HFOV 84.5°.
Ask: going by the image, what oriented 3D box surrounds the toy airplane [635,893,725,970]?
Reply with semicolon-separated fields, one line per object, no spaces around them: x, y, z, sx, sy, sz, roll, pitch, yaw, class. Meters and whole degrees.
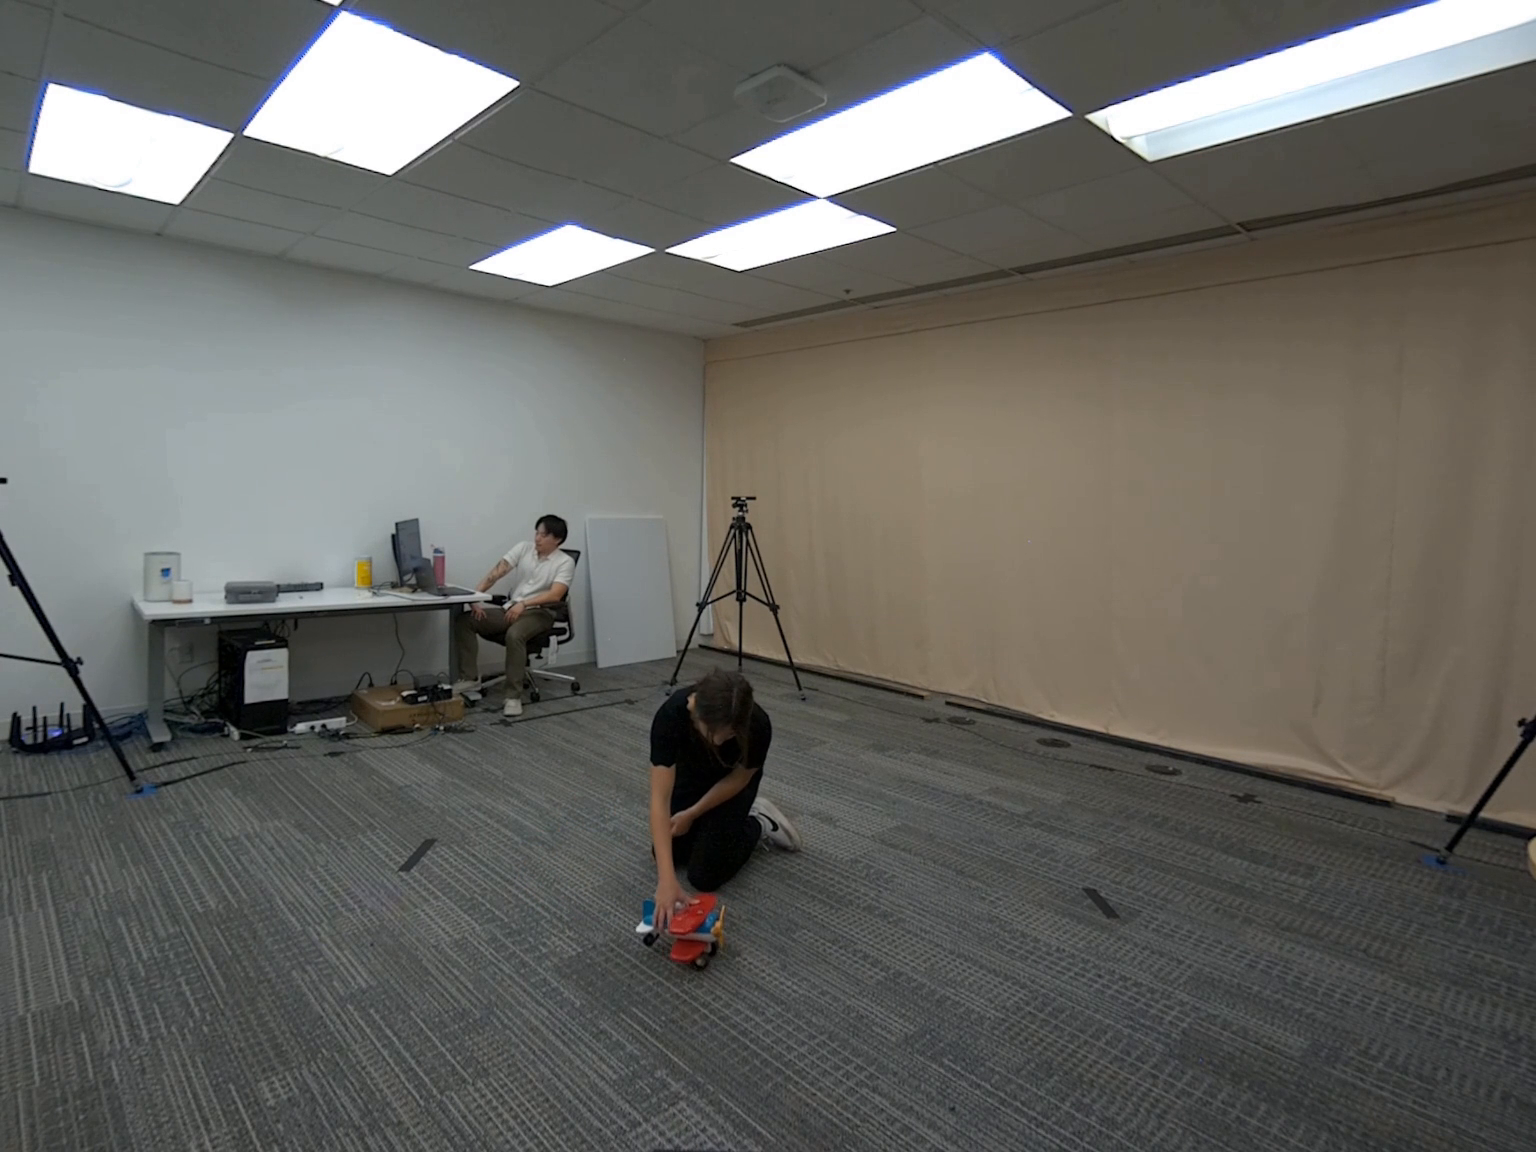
-0.283;1.075;2.525;0.257;0.156;0.254;8;7;-11;toy airplane
